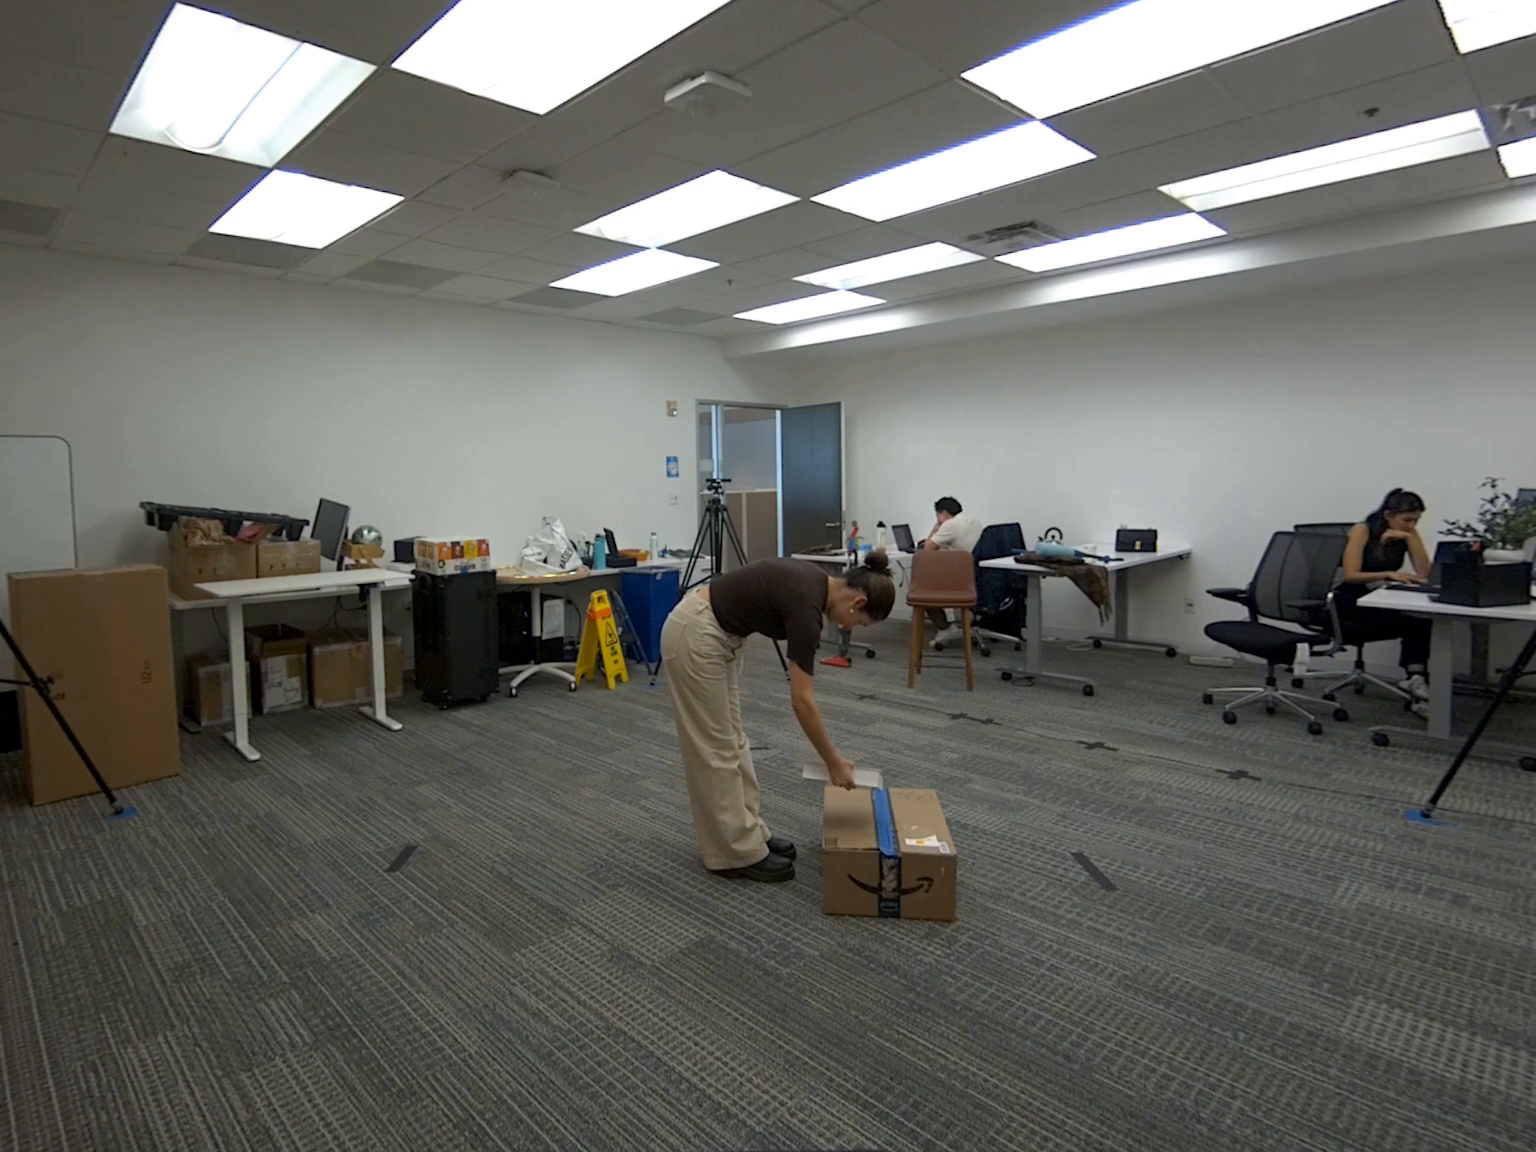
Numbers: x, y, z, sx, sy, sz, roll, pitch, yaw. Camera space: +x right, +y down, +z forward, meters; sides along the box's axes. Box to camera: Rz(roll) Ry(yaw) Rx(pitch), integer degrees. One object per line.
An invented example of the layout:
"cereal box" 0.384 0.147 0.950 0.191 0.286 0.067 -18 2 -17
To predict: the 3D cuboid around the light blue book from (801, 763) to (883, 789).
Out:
"light blue book" 0.256 0.689 2.970 0.264 0.060 0.187 4 -16 10
